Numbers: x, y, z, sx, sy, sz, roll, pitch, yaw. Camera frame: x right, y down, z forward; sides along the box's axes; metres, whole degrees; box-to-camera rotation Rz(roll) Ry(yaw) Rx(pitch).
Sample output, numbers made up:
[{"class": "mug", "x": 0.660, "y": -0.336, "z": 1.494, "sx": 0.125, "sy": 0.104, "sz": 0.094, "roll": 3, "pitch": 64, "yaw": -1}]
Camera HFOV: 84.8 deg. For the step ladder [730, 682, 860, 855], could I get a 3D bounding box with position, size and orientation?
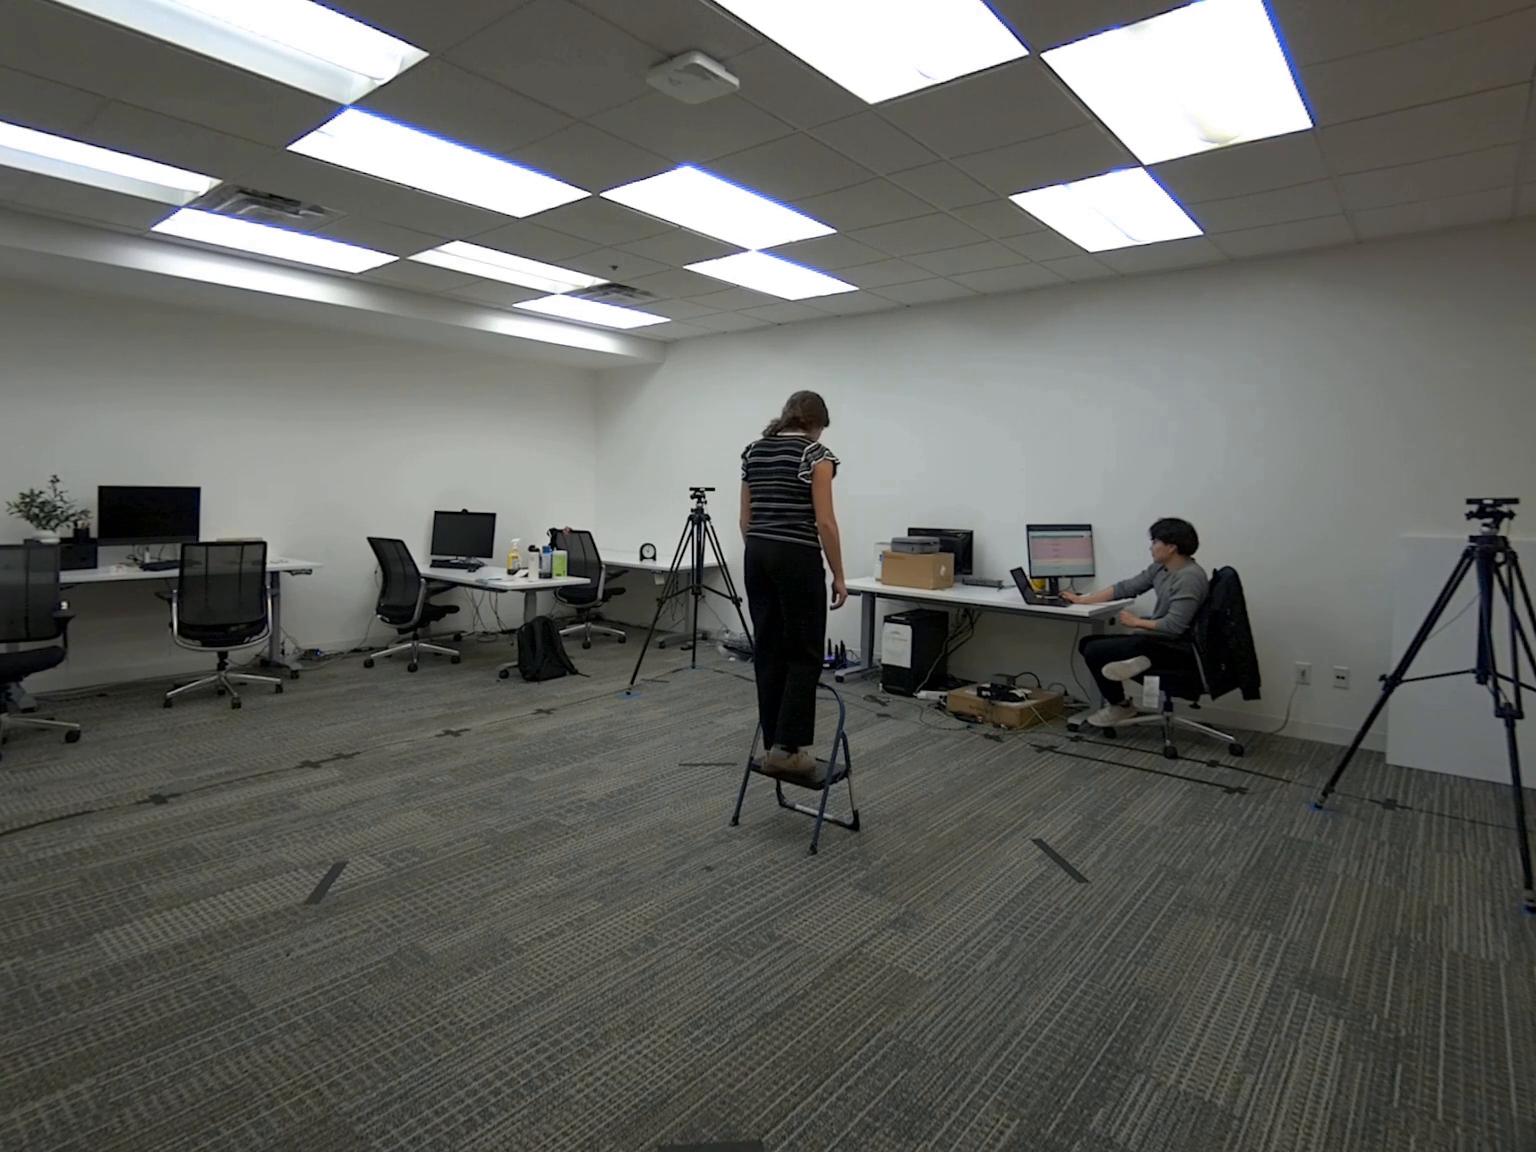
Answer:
[{"class": "step ladder", "x": 0.113, "y": 0.732, "z": 3.496, "sx": 0.445, "sy": 0.604, "sz": 0.339, "roll": 4, "pitch": 4, "yaw": 39}]
